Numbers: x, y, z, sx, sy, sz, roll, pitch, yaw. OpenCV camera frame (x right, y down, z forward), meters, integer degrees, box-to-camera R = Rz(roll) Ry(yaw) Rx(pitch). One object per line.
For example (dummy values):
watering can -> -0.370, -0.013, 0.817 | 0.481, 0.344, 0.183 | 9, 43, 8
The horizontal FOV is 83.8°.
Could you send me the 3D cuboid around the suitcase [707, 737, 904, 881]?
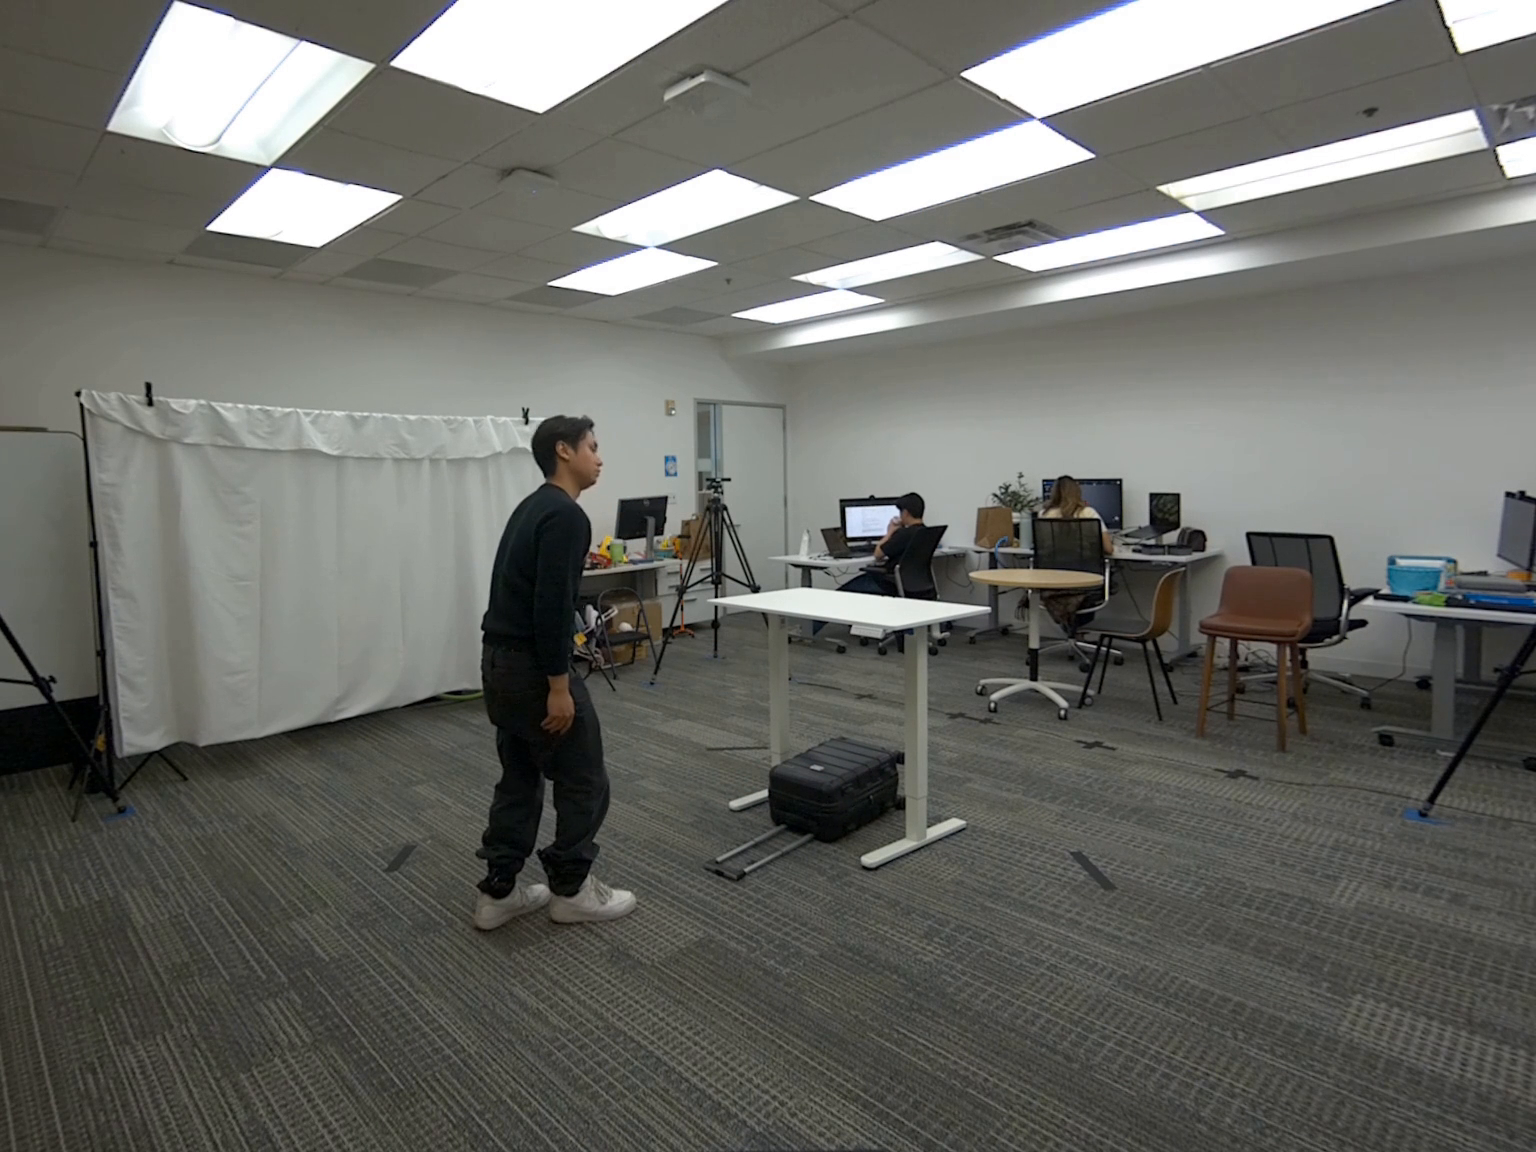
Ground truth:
suitcase -> 0.146, 0.884, 3.359 | 0.396, 0.256, 0.953 | 5, 8, 42
